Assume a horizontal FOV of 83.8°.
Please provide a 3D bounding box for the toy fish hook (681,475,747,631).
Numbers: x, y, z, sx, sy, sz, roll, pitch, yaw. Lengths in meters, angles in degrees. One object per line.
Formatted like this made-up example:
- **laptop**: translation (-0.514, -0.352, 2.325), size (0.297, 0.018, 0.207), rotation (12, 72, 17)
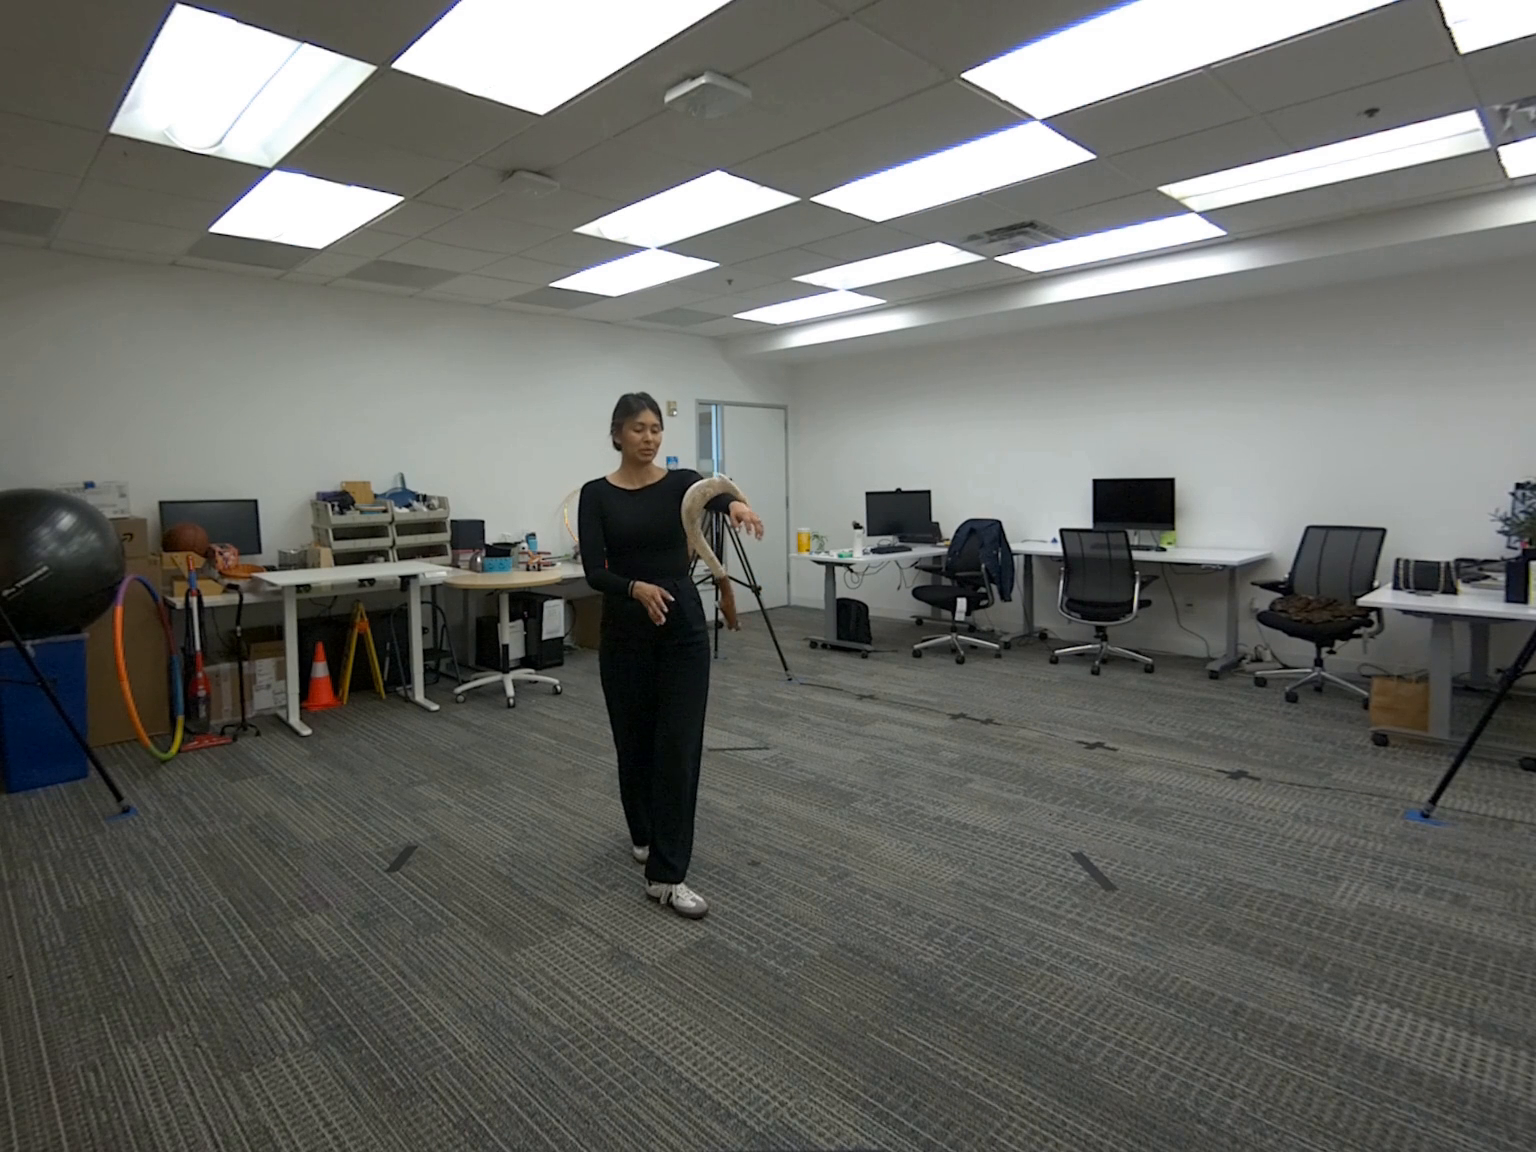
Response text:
- **toy fish hook**: translation (-0.120, -0.069, 2.646), size (0.223, 0.495, 0.050), rotation (-21, 23, -15)
